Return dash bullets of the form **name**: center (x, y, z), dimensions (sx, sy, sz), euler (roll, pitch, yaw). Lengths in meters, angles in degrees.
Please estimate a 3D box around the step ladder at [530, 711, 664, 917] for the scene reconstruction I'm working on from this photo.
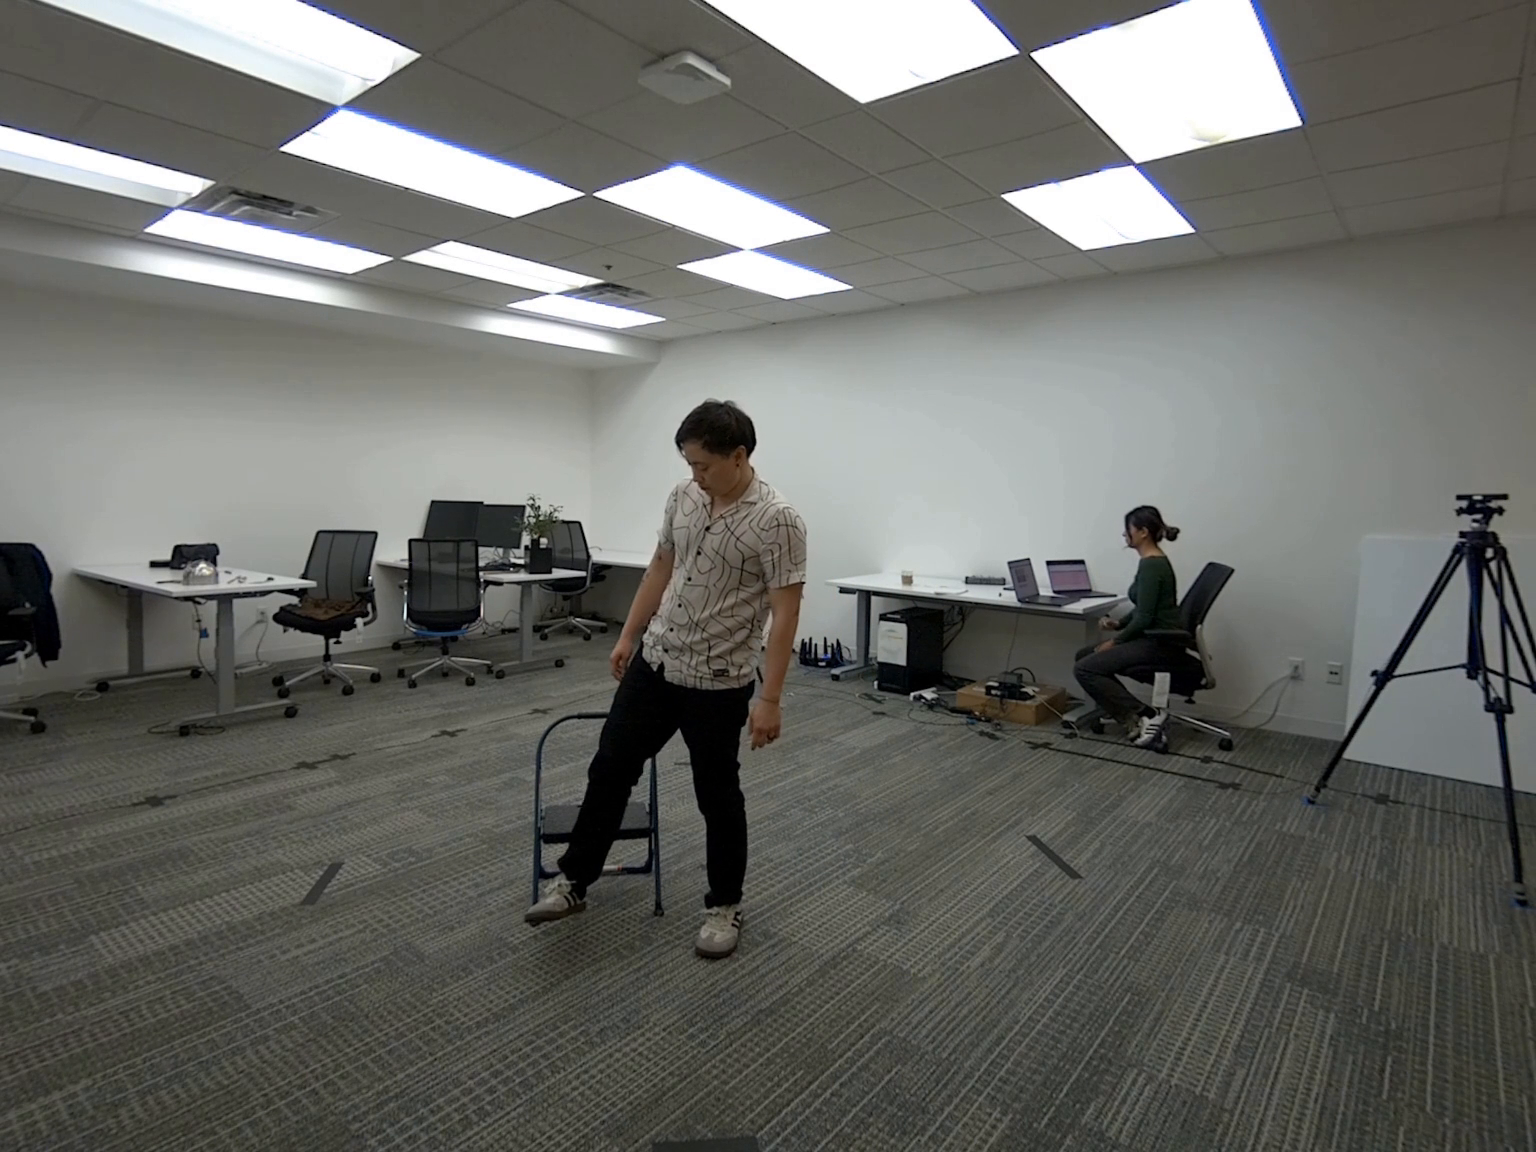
- **step ladder**: center (-0.589, 0.784, 2.879), dimensions (0.425, 0.604, 0.355), euler (0, 4, -12)
